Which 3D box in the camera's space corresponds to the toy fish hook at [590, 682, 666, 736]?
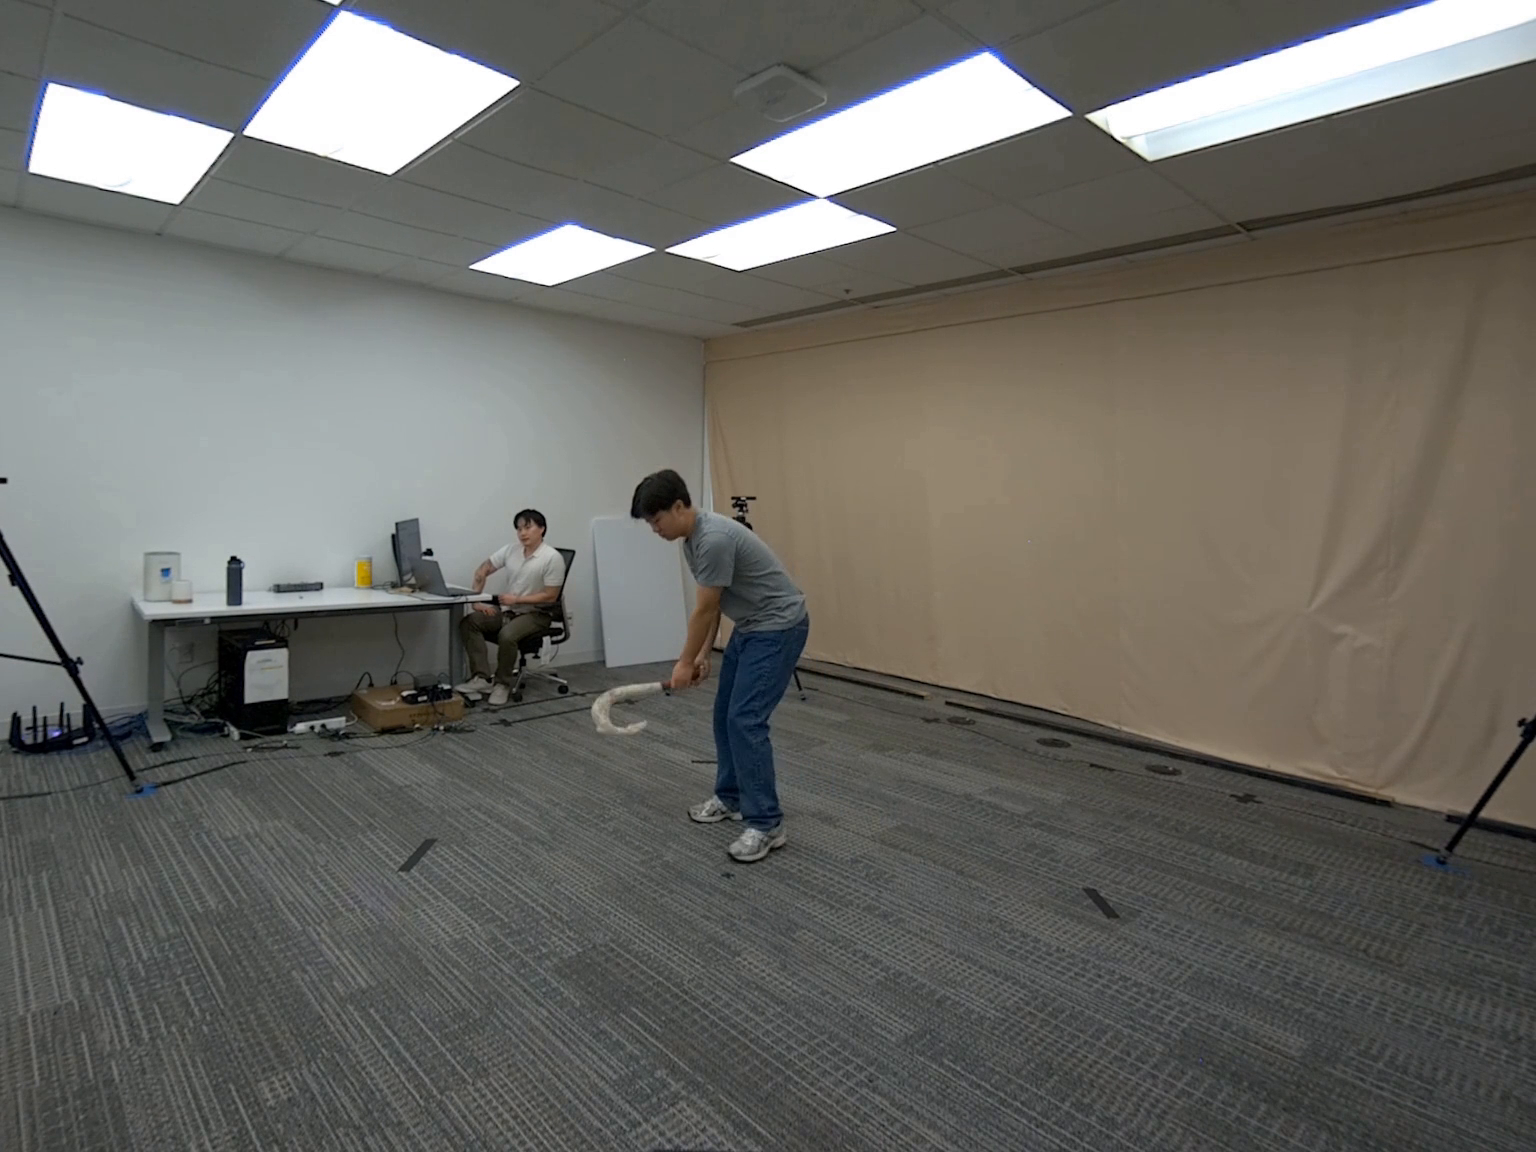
[{"bbox_3d":[-0.477,0.502,3.450,0.503,0.231,0.047,-18,-33,-13],"label":"toy fish hook"}]
